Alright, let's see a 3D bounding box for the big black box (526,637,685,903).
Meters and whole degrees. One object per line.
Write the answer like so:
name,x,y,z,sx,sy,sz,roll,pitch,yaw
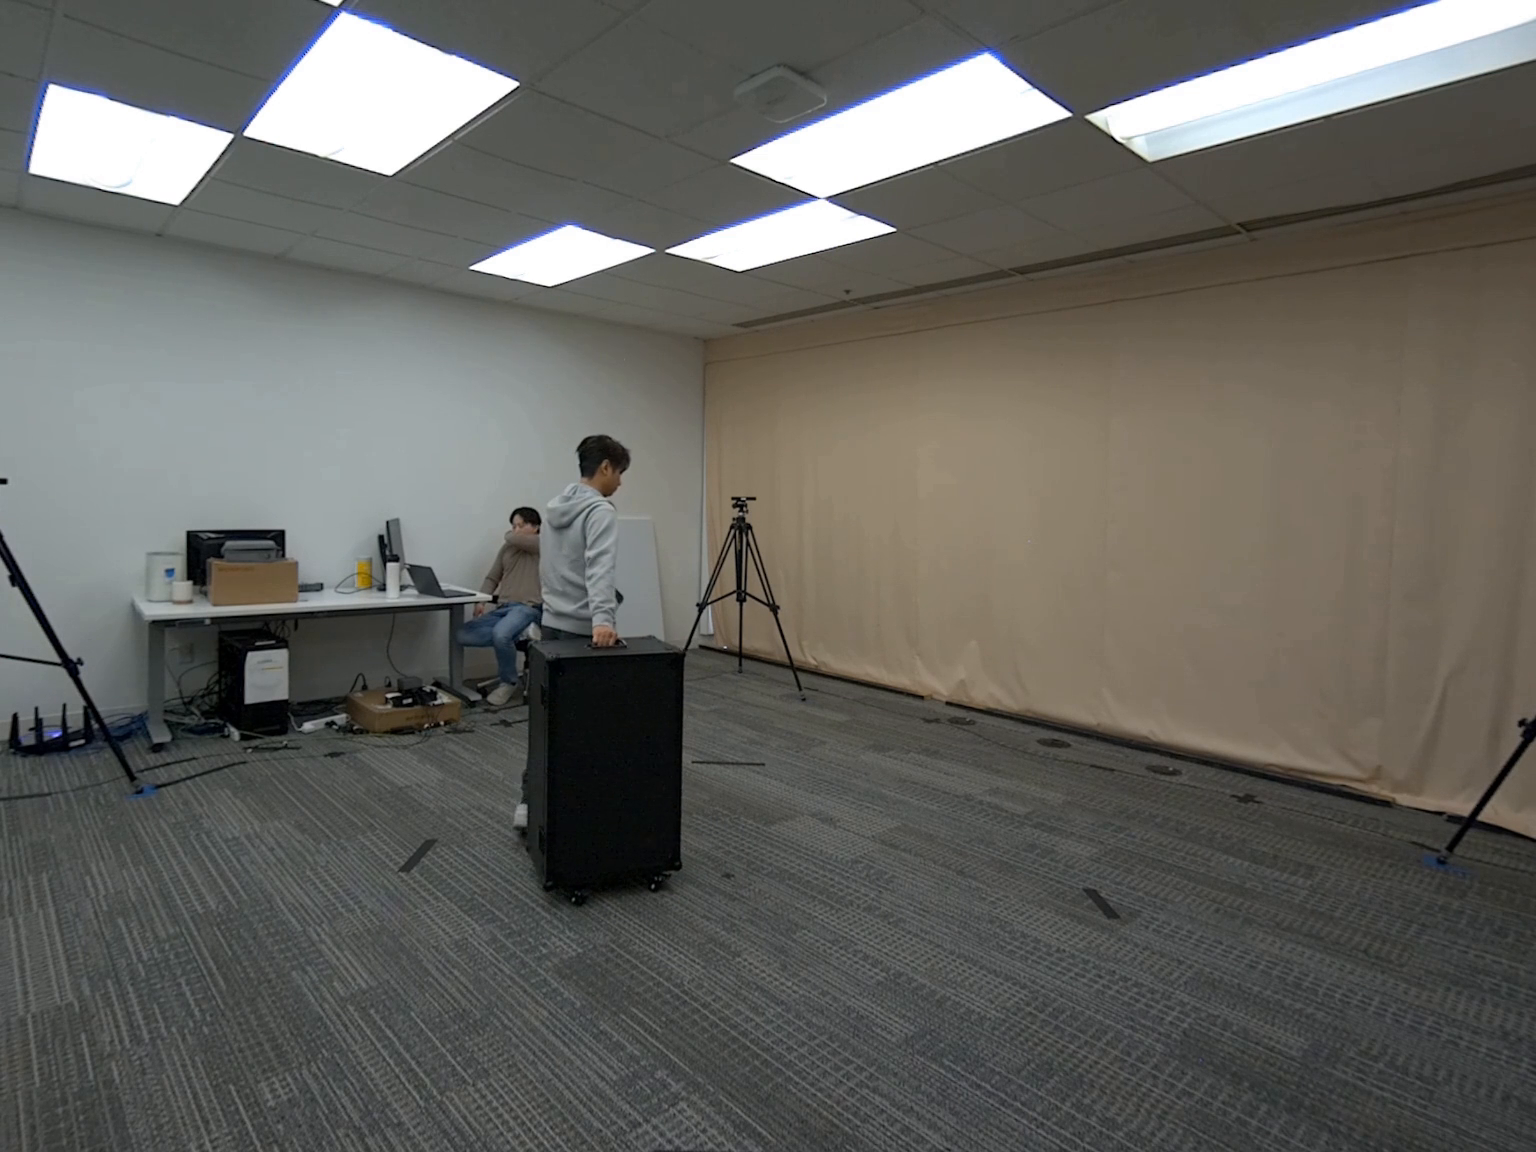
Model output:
big black box,-0.607,0.677,3.042,0.512,0.860,0.404,-1,2,-25
